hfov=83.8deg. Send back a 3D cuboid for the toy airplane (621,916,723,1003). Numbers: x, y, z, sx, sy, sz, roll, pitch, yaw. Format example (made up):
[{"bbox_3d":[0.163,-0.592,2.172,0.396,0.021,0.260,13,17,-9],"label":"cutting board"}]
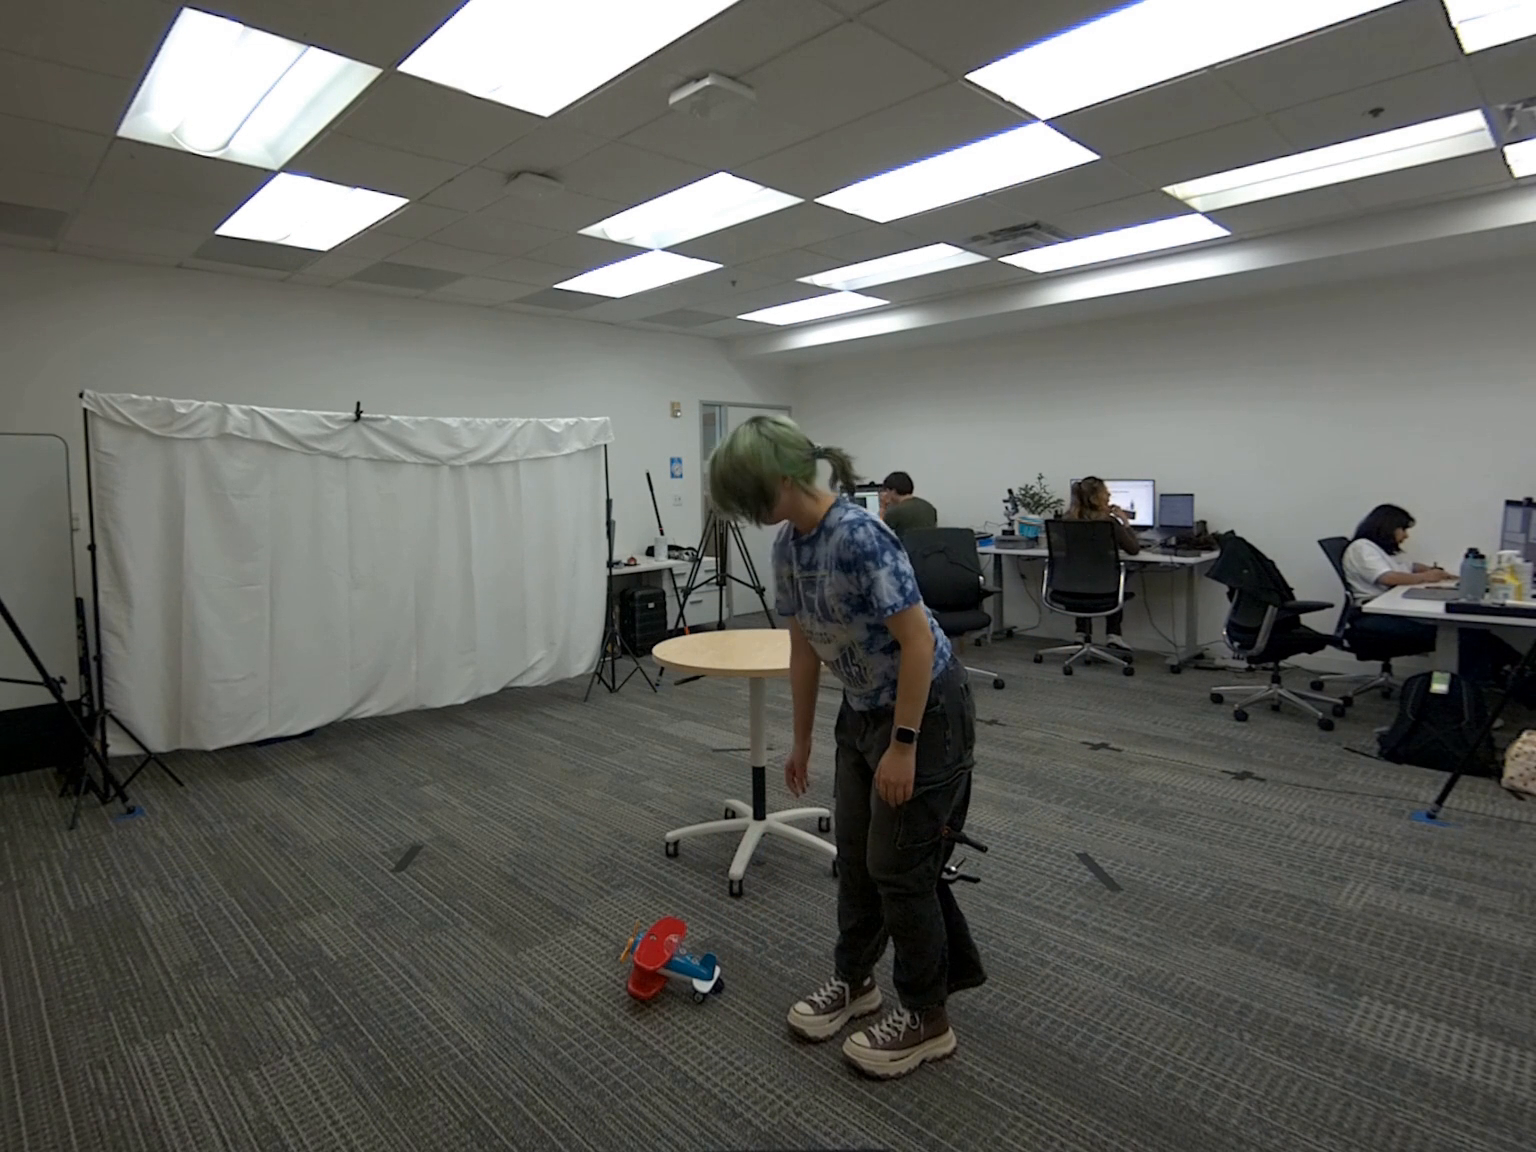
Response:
[{"bbox_3d":[-0.257,1.067,2.358,0.256,0.155,0.255,-3,7,-13],"label":"toy airplane"}]
